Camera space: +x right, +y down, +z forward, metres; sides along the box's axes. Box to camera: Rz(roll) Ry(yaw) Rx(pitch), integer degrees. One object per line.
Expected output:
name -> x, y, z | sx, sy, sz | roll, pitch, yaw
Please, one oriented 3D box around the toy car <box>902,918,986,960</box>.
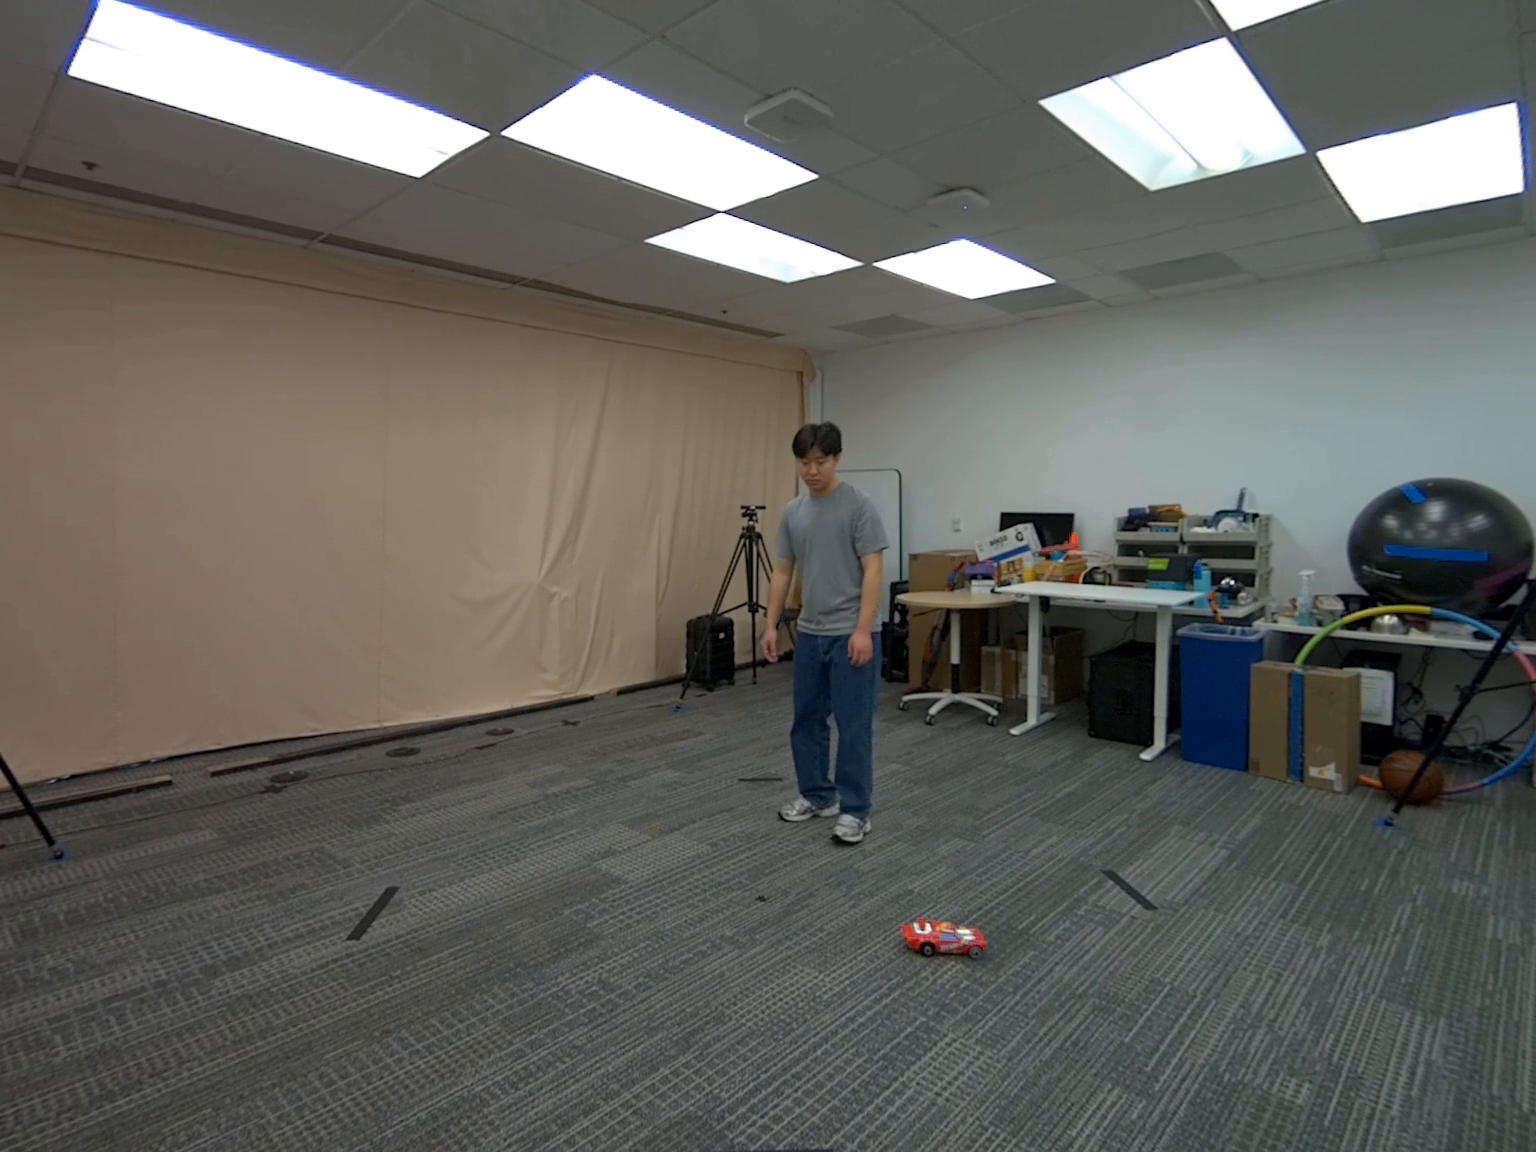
toy car -> 0.548, 1.137, 2.642 | 0.256, 0.083, 0.130 | 11, 6, 3
